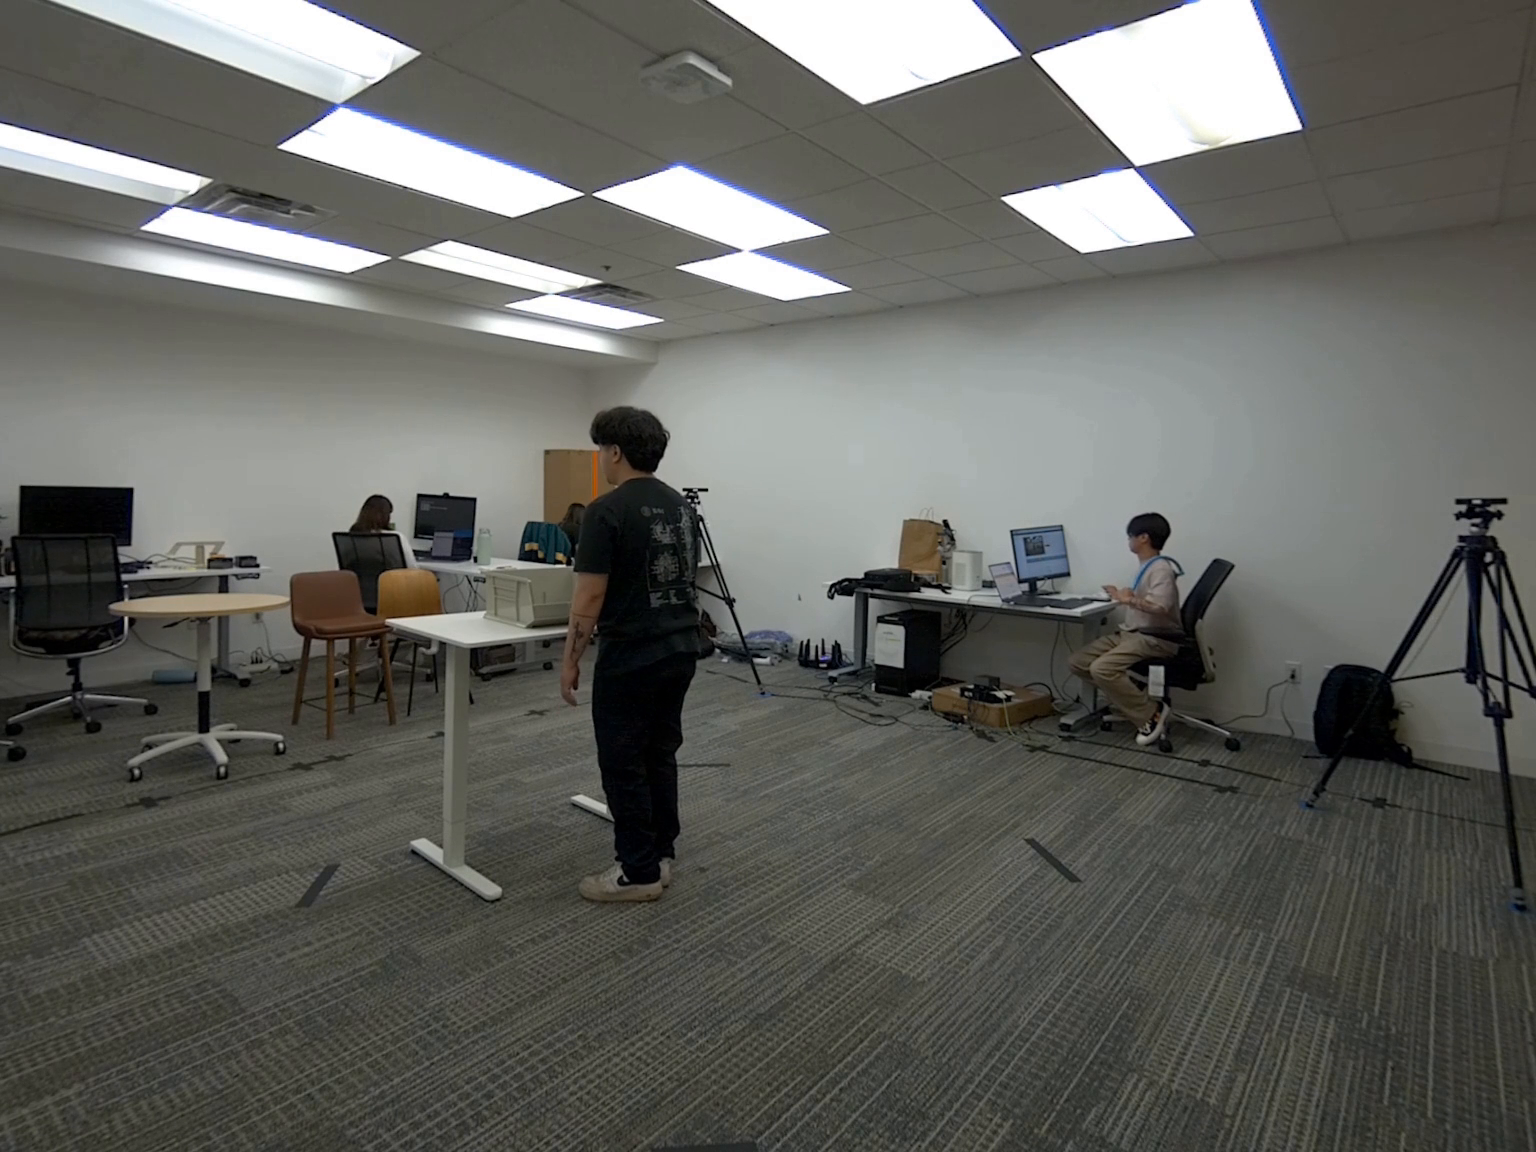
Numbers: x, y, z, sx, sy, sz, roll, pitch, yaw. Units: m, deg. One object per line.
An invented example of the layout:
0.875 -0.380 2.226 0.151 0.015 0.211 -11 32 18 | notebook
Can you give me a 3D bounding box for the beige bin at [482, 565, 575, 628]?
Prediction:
-0.827 0.075 3.253 0.409 0.188 0.390 -4 7 -44 | beige bin
